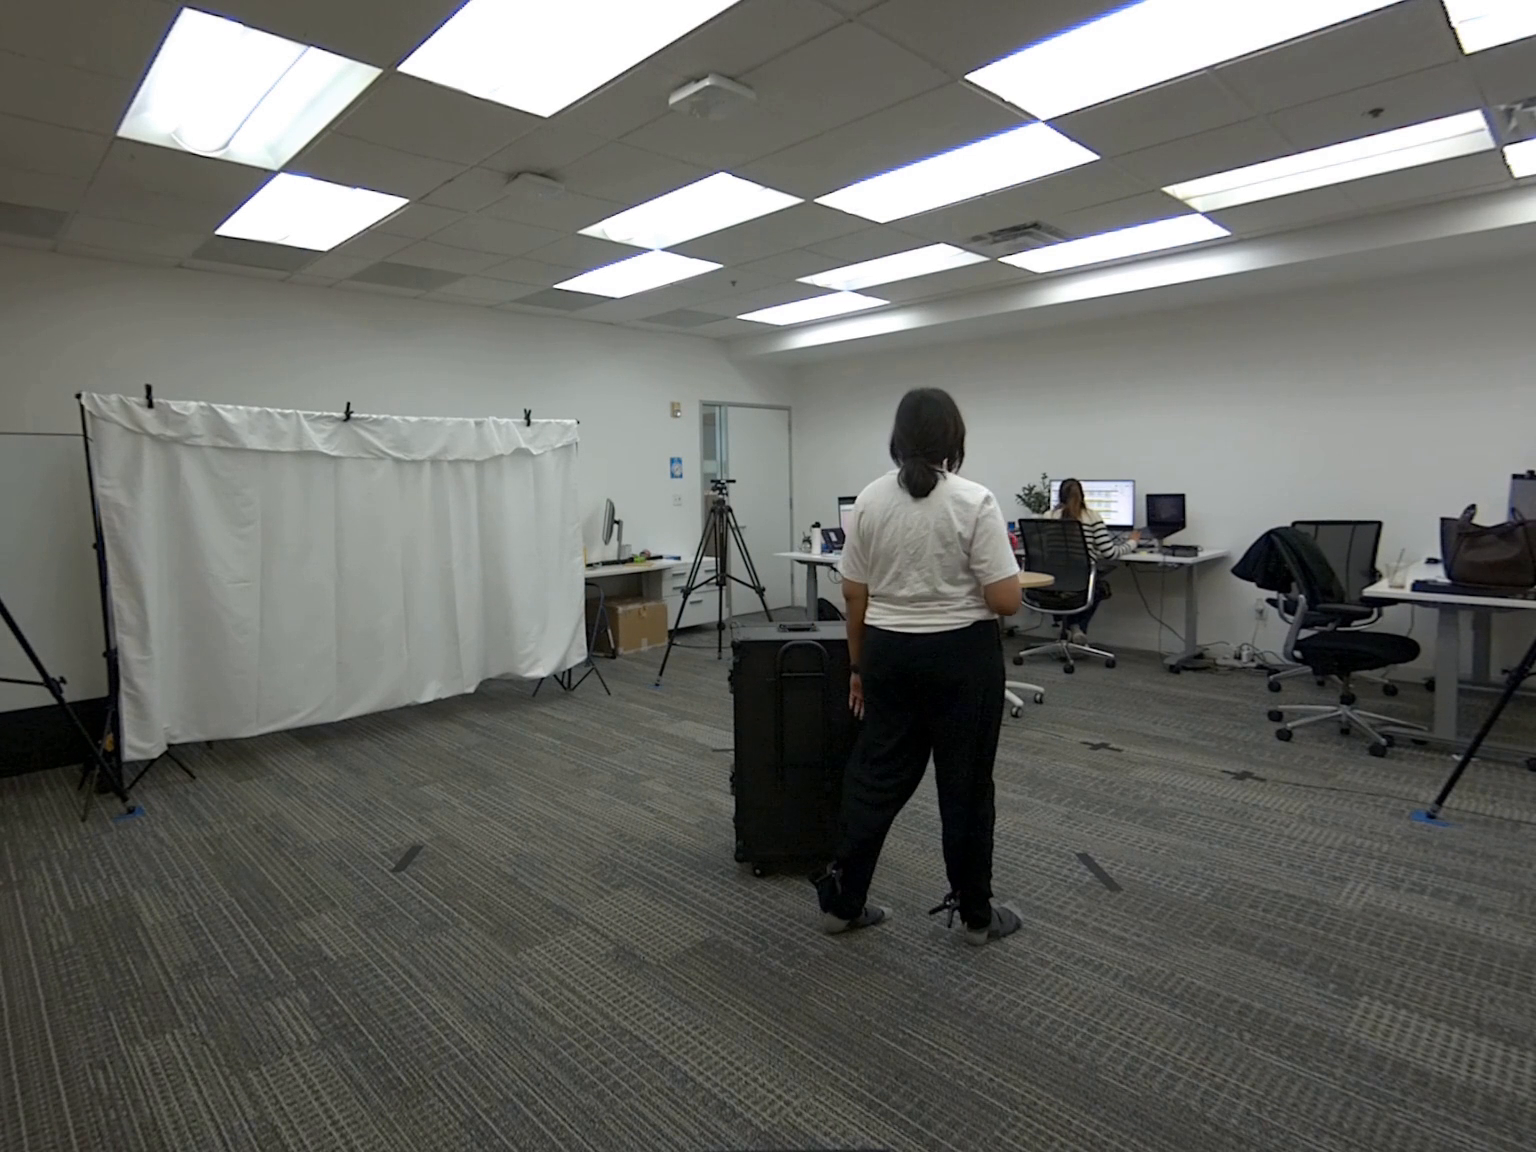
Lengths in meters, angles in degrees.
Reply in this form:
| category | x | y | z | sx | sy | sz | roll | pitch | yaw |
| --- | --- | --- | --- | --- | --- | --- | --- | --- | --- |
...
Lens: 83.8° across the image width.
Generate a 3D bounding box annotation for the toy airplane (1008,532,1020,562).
| category | x | y | z | sx | sy | sz | roll | pitch | yaw |
| --- | --- | --- | --- | --- | --- | --- | --- | --- | --- |
| toy airplane | 0.674 | -0.080 | 2.710 | 0.256 | 0.263 | 0.151 | -16 | -41 | 42 |
